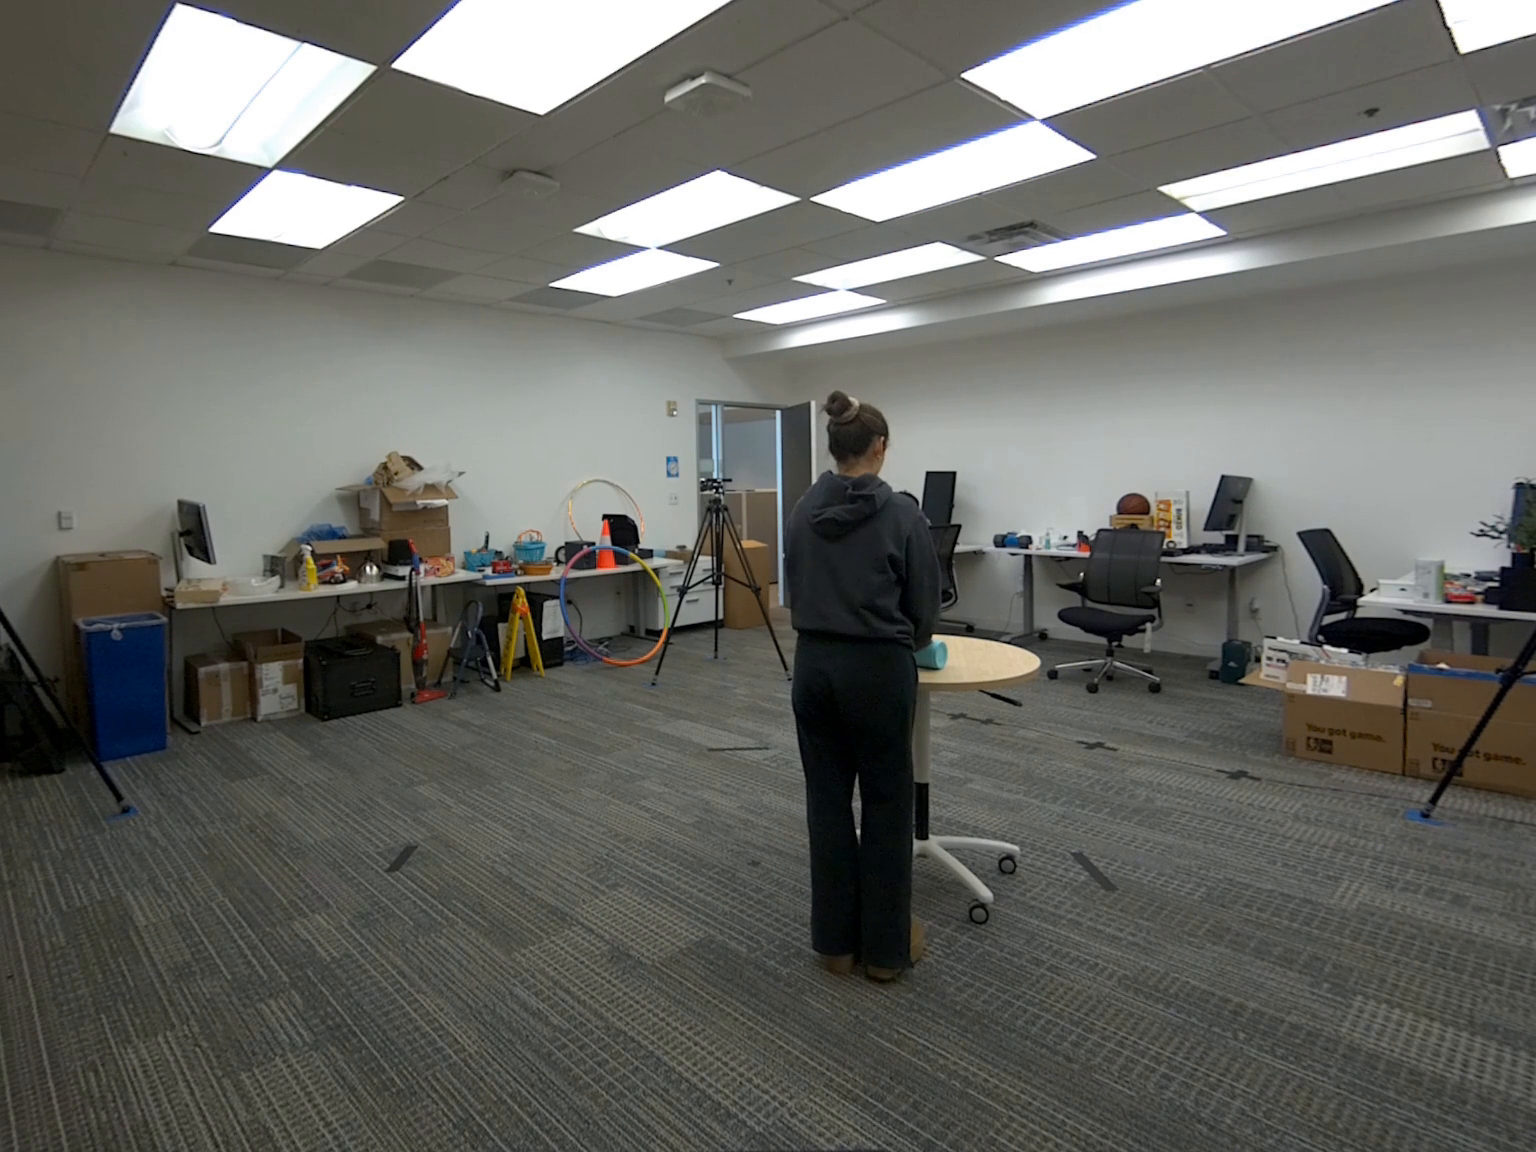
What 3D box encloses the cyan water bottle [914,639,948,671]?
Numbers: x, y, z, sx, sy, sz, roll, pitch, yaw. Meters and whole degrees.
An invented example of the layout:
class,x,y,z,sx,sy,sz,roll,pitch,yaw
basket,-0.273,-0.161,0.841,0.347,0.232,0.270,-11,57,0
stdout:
class,x,y,z,sx,sy,sz,roll,pitch,yaw
cyan water bottle,0.449,0.244,2.797,0.292,0.092,0.090,5,7,40
